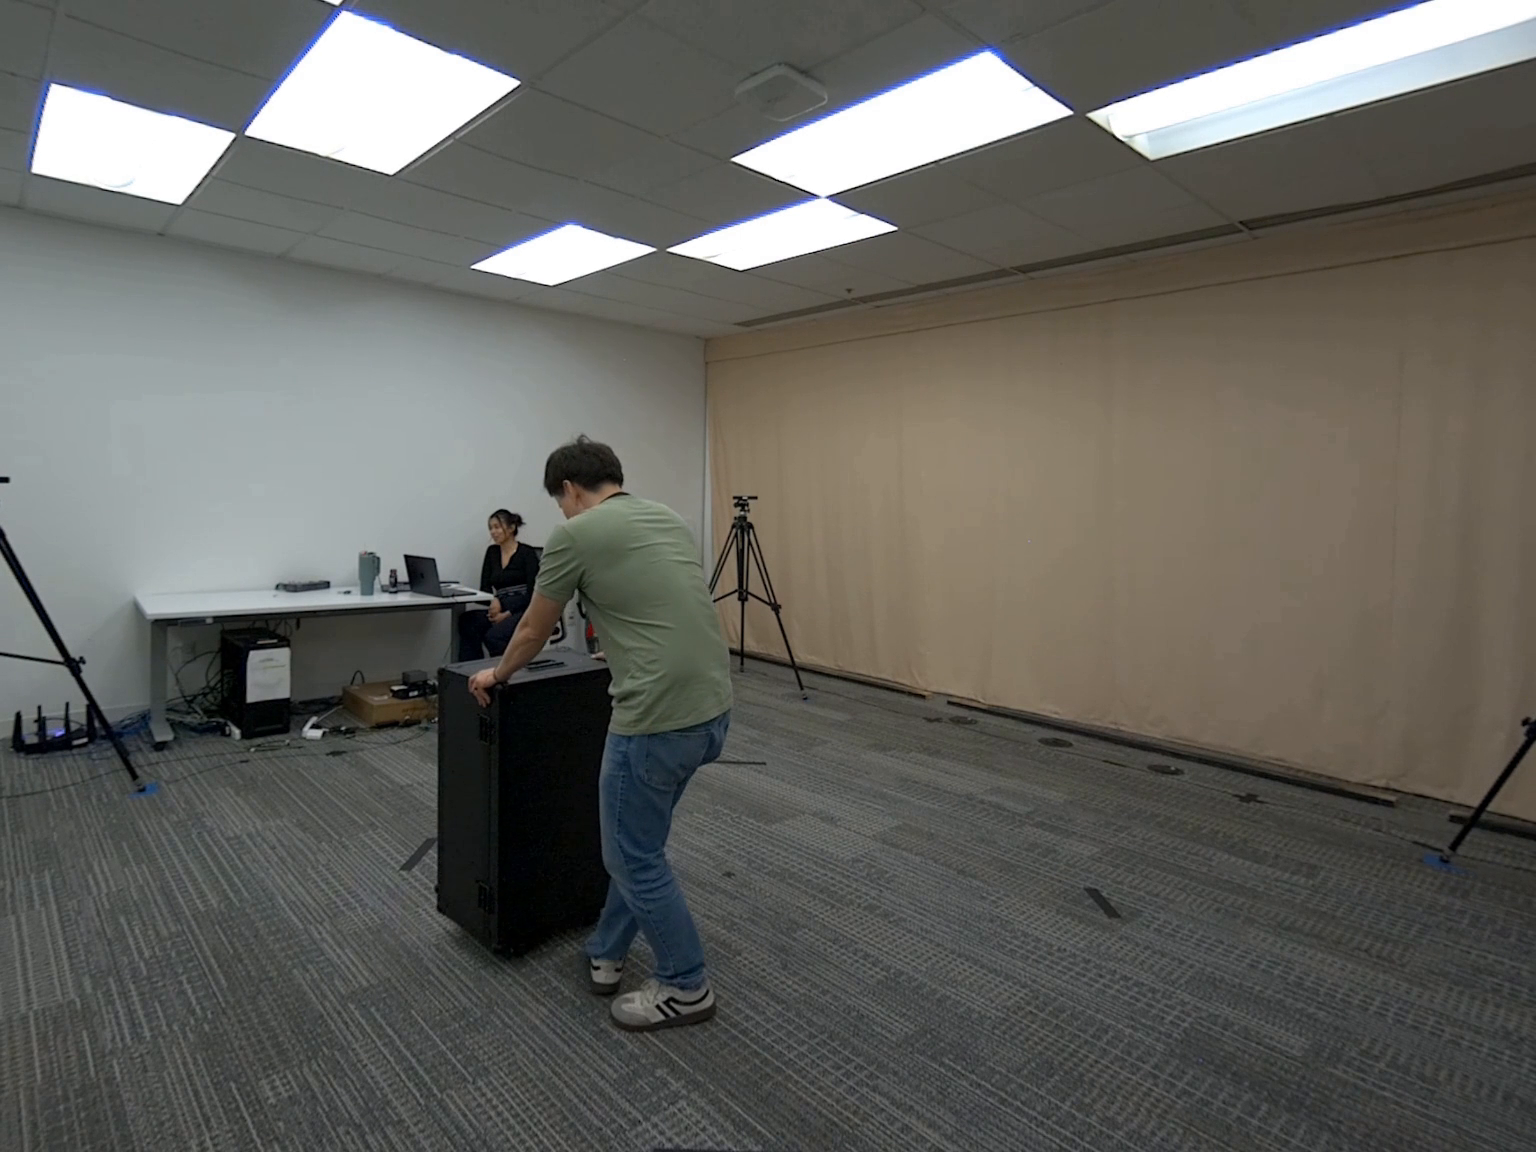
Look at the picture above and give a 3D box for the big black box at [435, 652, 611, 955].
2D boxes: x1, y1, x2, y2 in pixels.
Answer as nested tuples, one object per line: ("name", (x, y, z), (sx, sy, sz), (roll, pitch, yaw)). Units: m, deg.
("big black box", (-0.770, 0.704, 2.687), (0.406, 0.860, 0.509), (3, 4, 41))
